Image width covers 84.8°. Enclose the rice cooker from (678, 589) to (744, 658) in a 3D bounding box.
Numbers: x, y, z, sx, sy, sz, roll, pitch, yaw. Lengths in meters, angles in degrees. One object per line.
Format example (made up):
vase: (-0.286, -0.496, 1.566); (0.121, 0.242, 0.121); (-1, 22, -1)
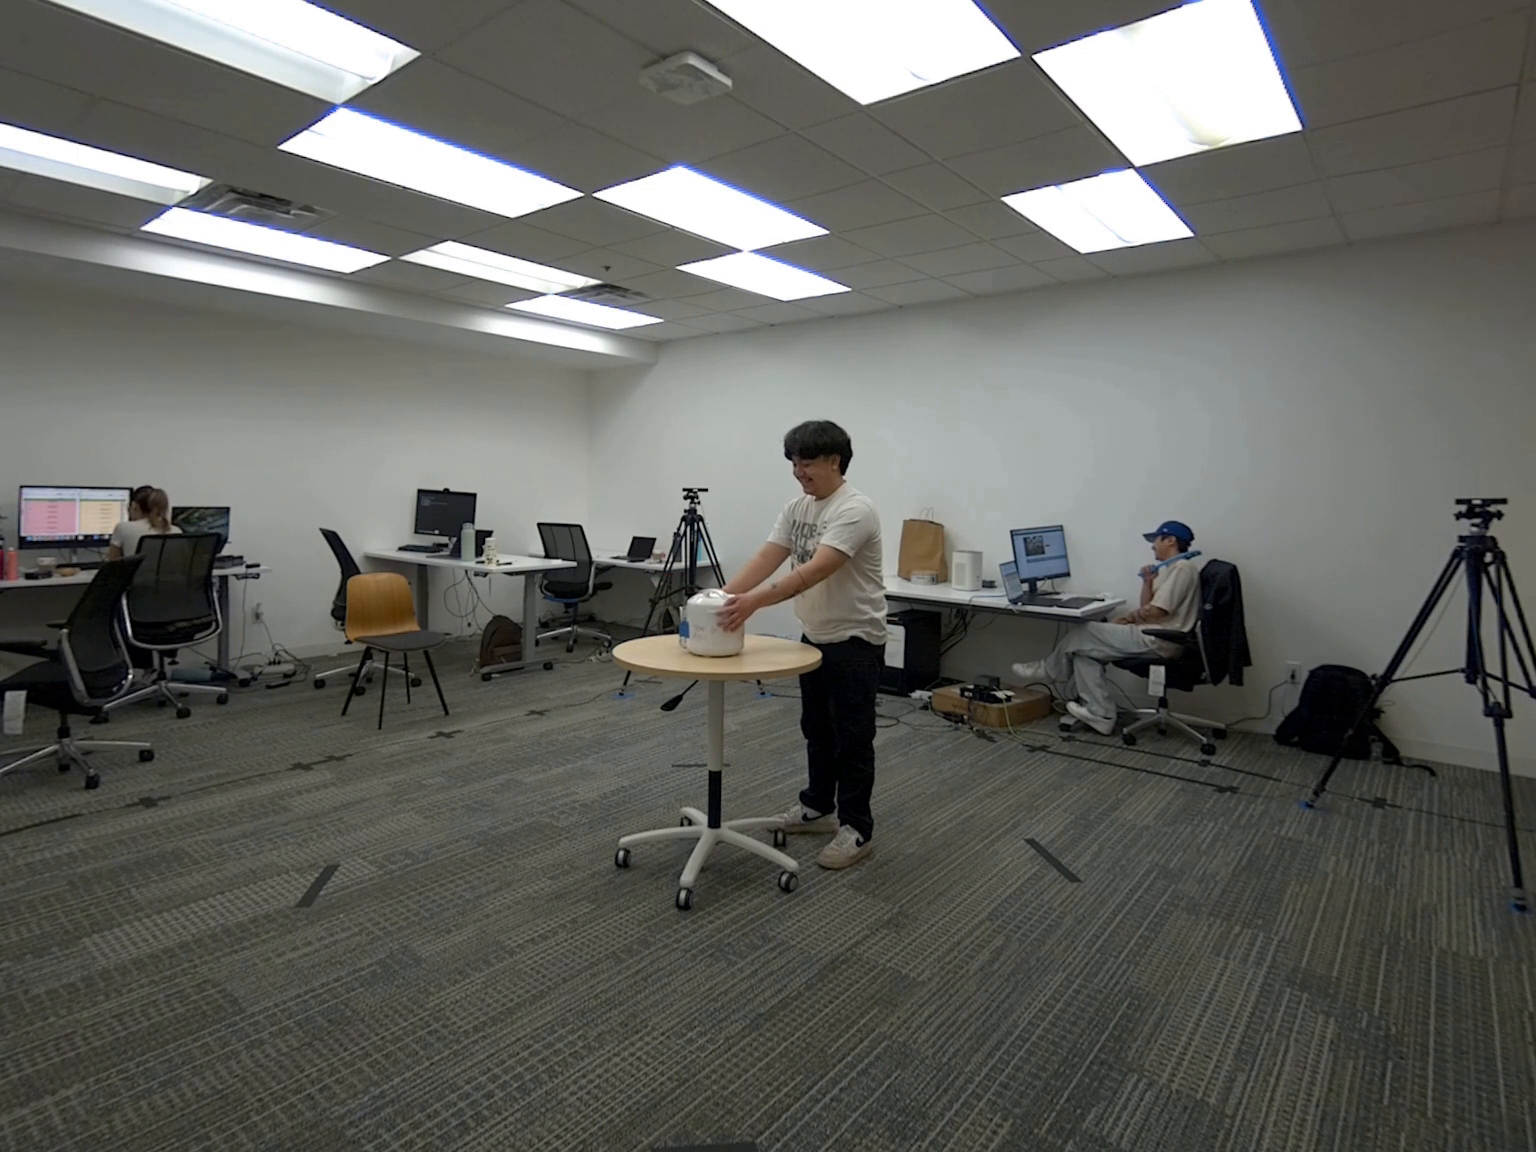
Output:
rice cooker: (-0.200, 0.162, 3.074); (0.211, 0.231, 0.228); (-2, 8, -32)
